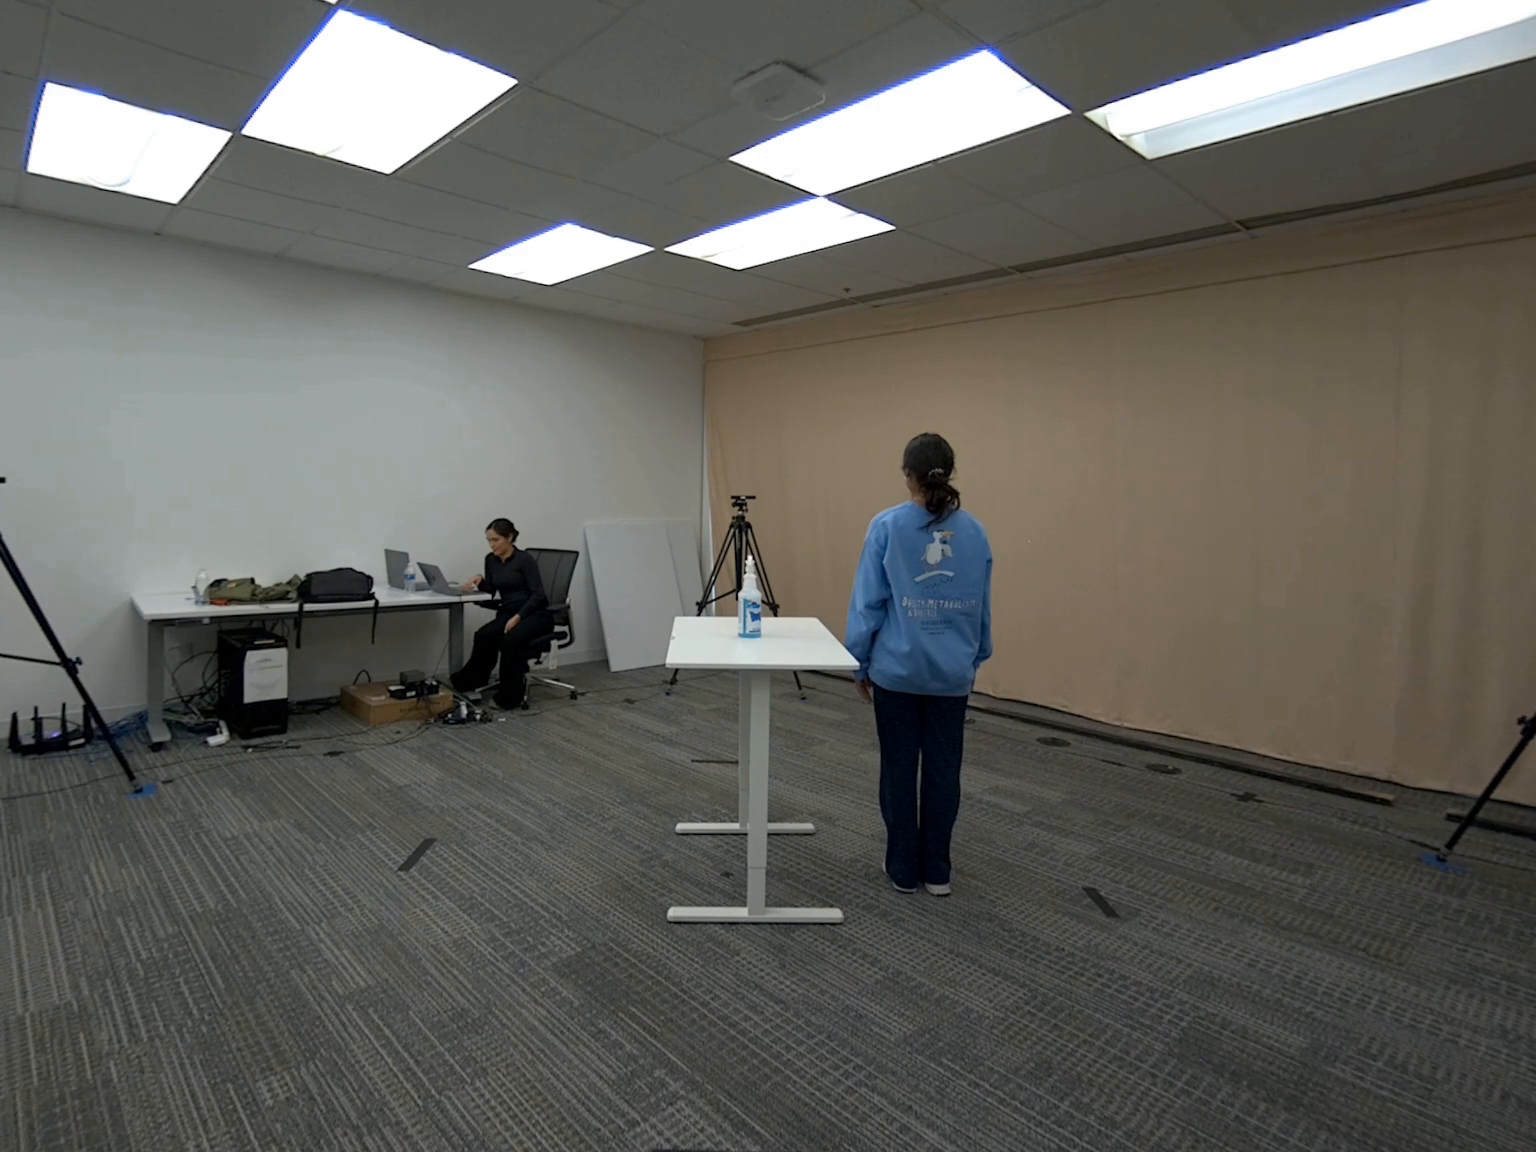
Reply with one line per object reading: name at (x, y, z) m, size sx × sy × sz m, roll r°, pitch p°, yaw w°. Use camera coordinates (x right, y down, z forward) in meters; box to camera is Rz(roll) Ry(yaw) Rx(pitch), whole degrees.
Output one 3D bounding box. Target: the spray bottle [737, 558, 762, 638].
spray bottle at (-0.070, 0.076, 3.099) m, size 0.088 × 0.297 × 0.088 m, roll 1°, pitch 0°, yaw 21°
